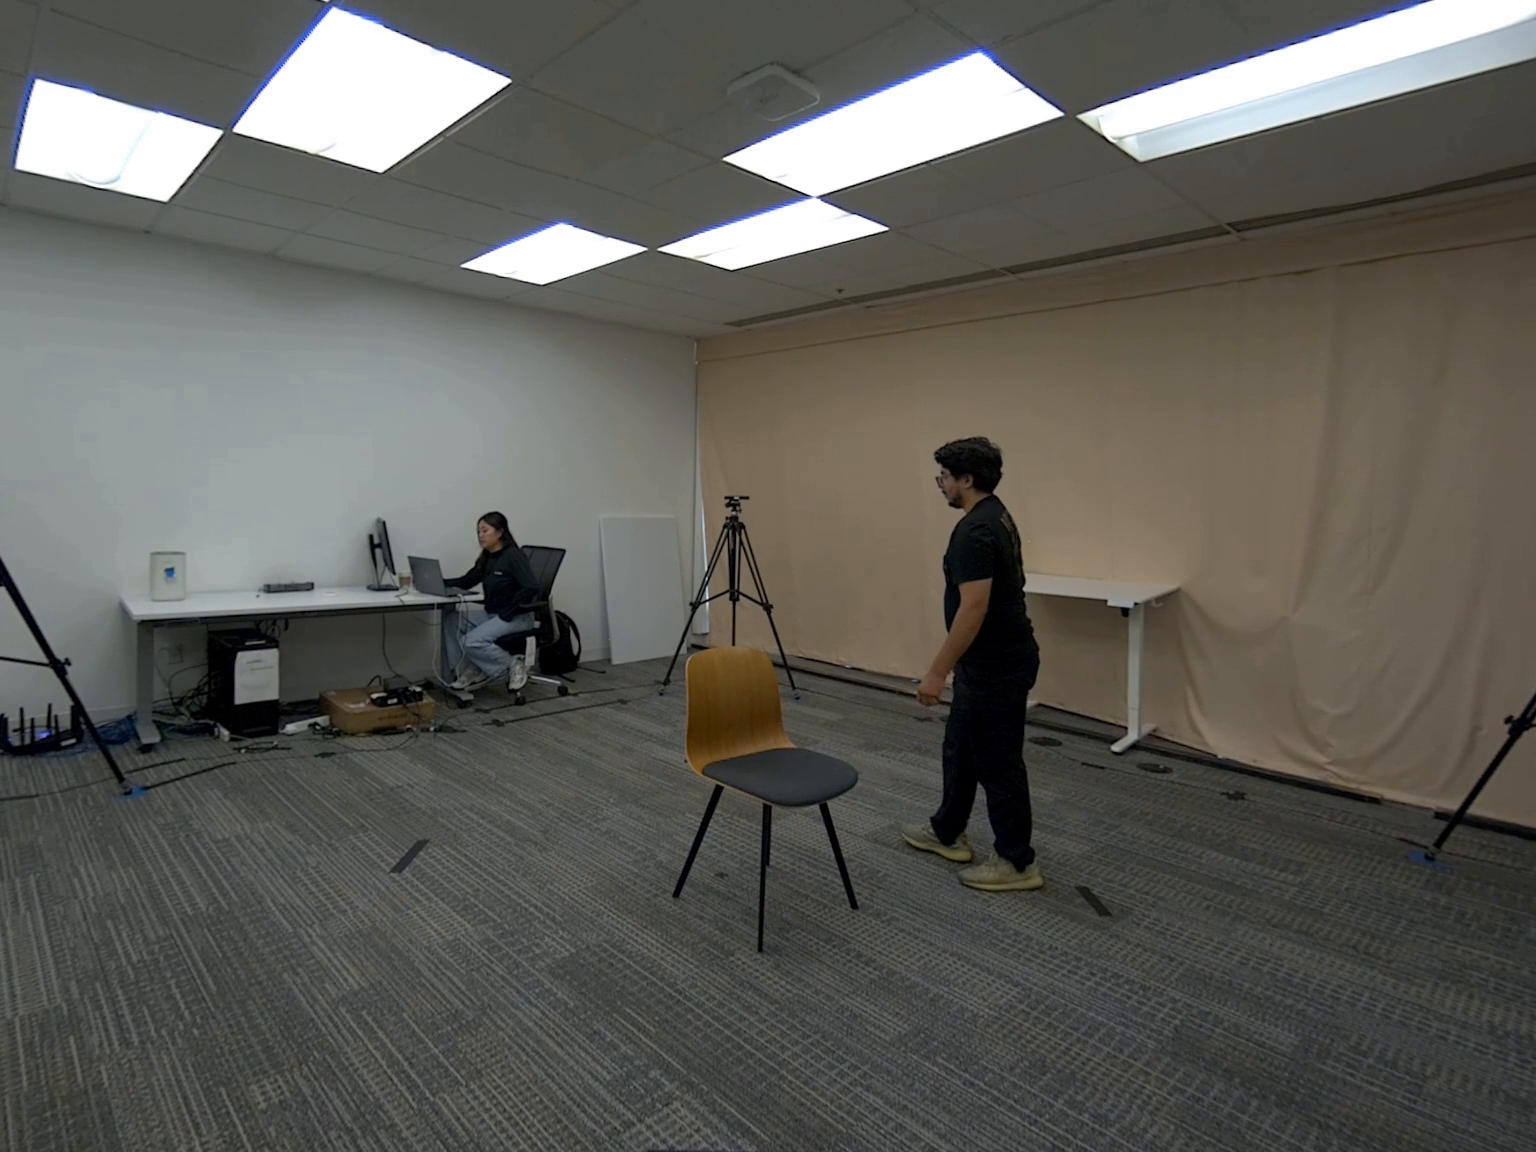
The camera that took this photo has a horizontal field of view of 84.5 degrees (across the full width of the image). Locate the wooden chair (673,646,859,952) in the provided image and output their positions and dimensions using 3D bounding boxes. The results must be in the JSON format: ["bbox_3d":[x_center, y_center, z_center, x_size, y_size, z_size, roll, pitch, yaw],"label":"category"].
[{"bbox_3d":[0.002,0.704,2.850,0.467,0.877,0.535,-1,0,-41],"label":"wooden chair"}]
